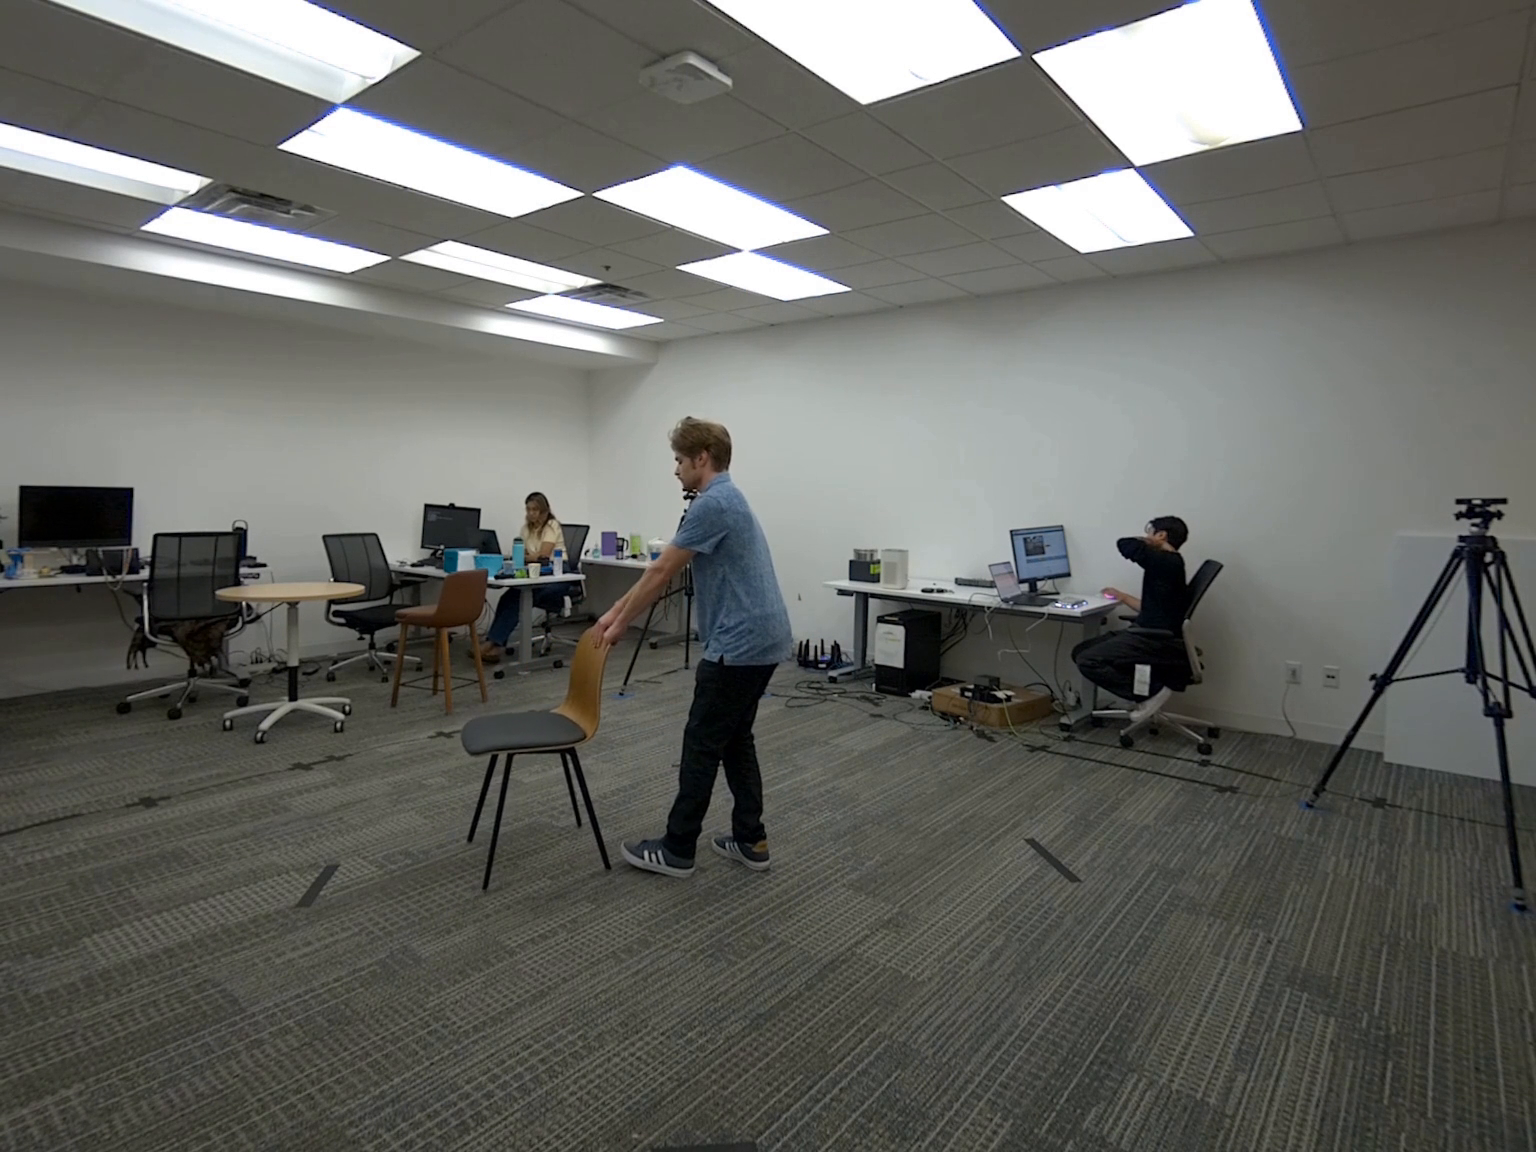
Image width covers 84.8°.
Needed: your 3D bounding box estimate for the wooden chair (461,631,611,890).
[{"bbox_3d":[-0.883,0.622,3.179,0.510,0.876,0.491,4,2,-26],"label":"wooden chair"}]
